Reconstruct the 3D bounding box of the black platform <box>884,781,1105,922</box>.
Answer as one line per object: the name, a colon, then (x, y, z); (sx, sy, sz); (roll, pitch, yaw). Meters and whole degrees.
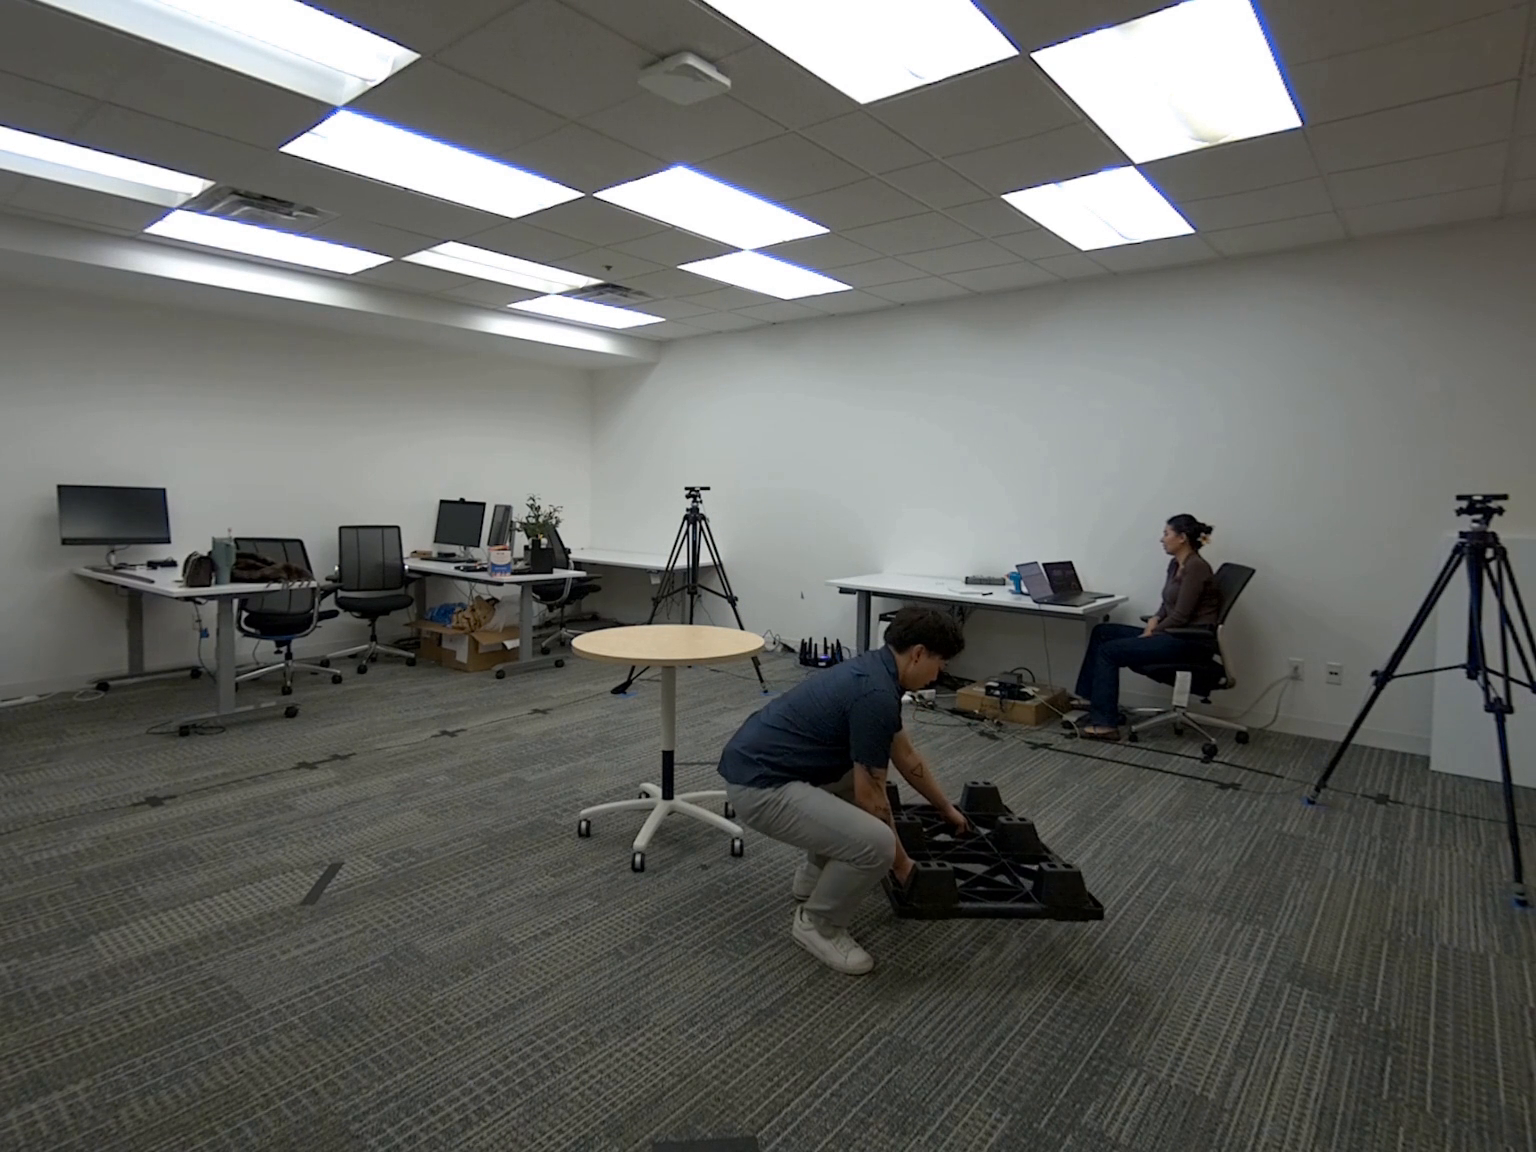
black platform: (0.632, 0.869, 2.797); (0.603, 0.142, 0.812); (0, 7, -4)
